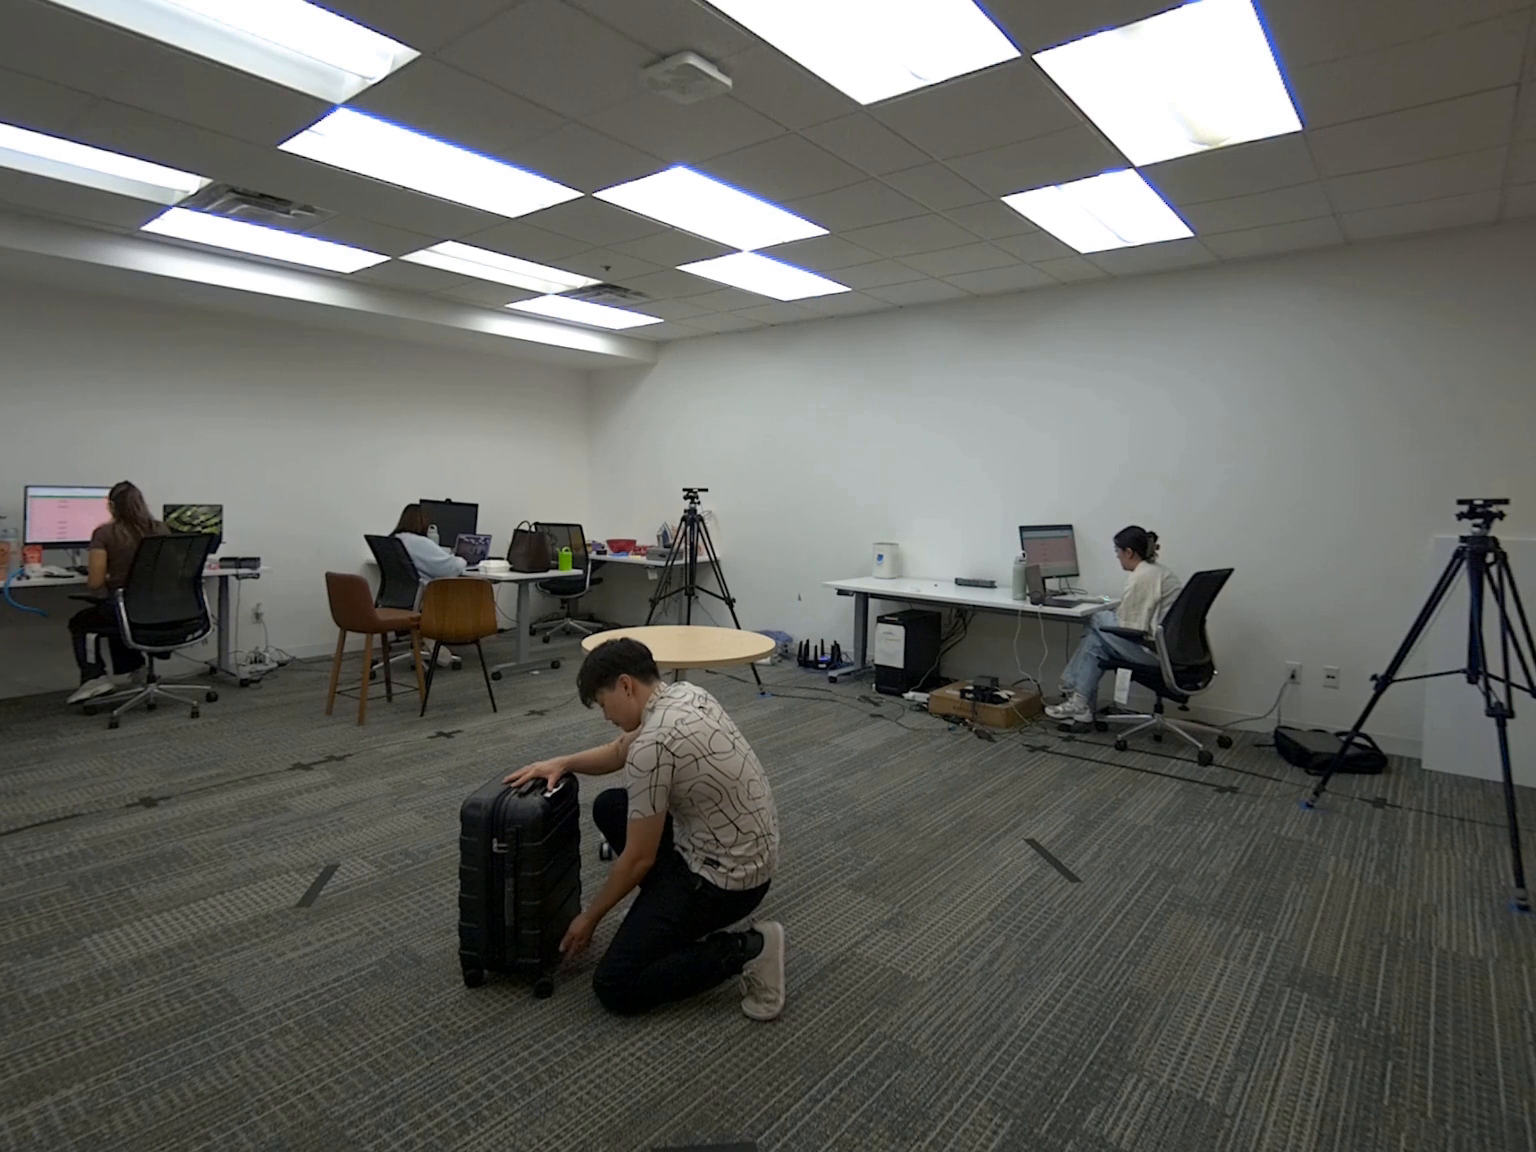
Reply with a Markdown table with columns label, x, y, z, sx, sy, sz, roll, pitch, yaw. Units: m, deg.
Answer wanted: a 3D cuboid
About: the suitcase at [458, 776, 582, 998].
| label | x | y | z | sx | sy | sz | roll | pitch | yaw |
| --- | --- | --- | --- | --- | --- | --- | --- | --- | --- |
| suitcase | -0.716 | 0.855 | 2.469 | 0.251 | 0.547 | 0.372 | 0 | 5 | 10 |
